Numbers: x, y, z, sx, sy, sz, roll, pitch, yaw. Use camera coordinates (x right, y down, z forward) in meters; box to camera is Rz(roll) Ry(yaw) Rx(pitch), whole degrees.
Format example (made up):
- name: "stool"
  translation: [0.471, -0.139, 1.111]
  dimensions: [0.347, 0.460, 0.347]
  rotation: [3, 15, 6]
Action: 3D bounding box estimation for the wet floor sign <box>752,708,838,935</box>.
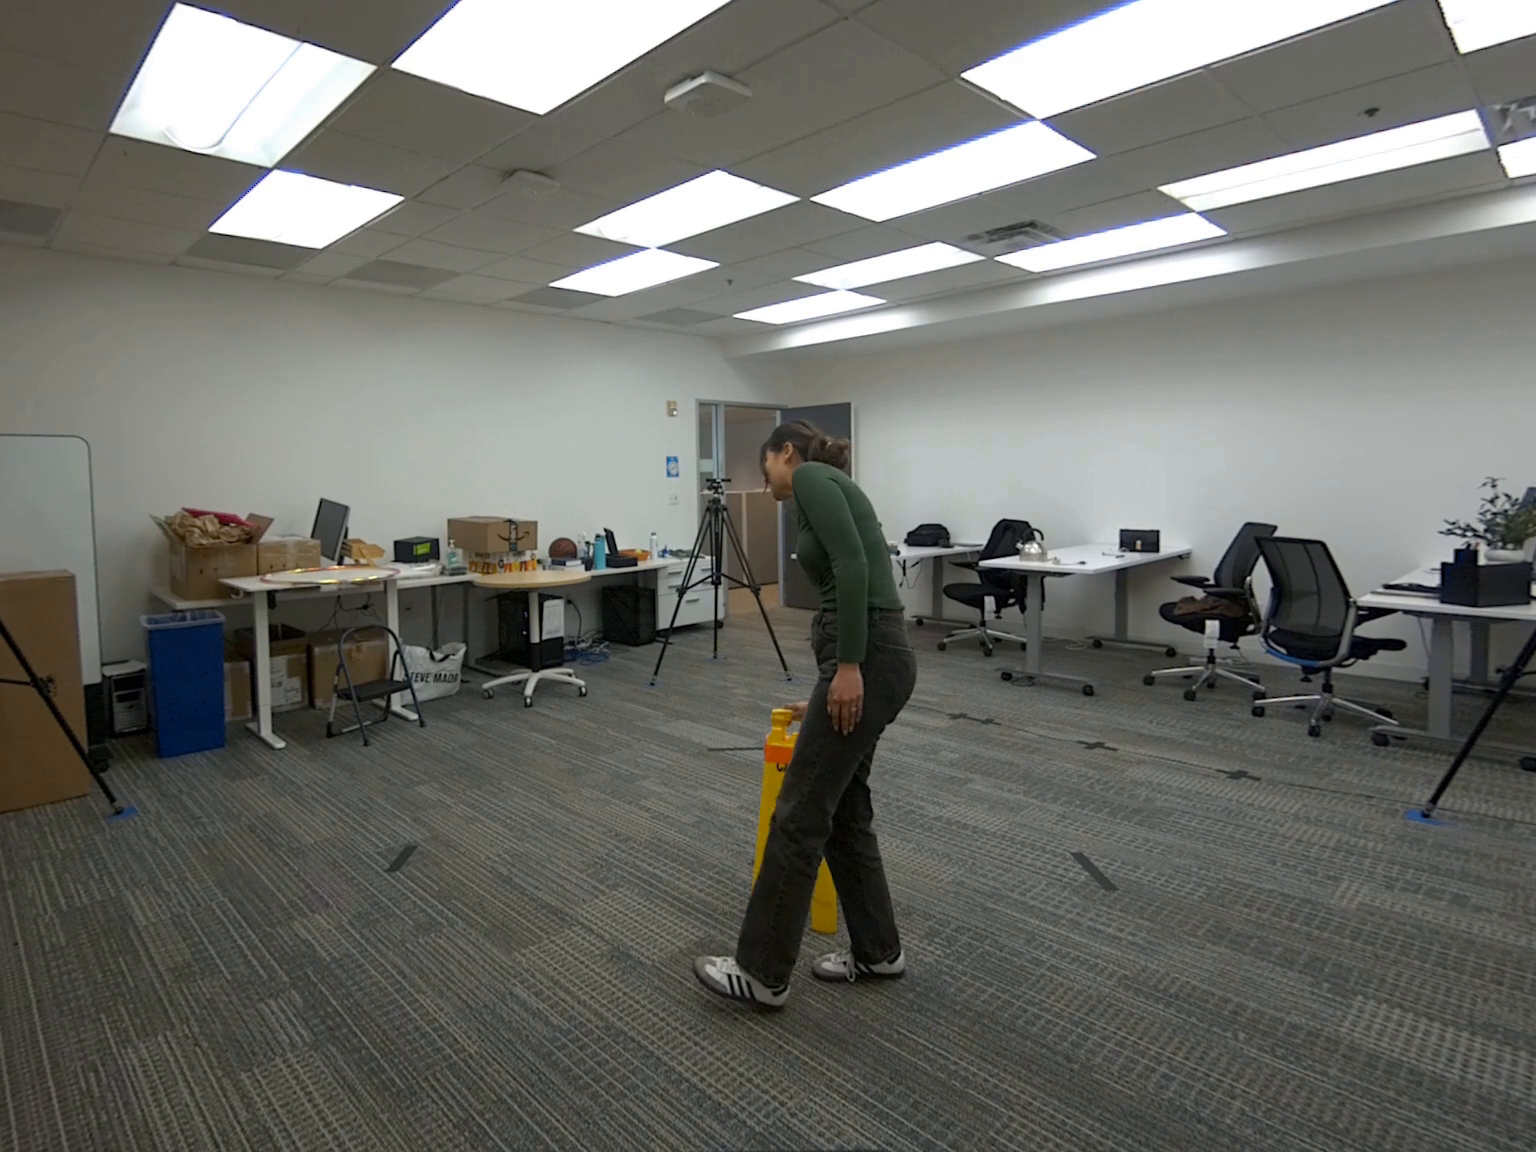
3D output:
- name: "wet floor sign"
  translation: [0.121, 0.756, 2.783]
  dimensions: [0.288, 0.644, 0.285]
  rotation: [2, 4, 19]
